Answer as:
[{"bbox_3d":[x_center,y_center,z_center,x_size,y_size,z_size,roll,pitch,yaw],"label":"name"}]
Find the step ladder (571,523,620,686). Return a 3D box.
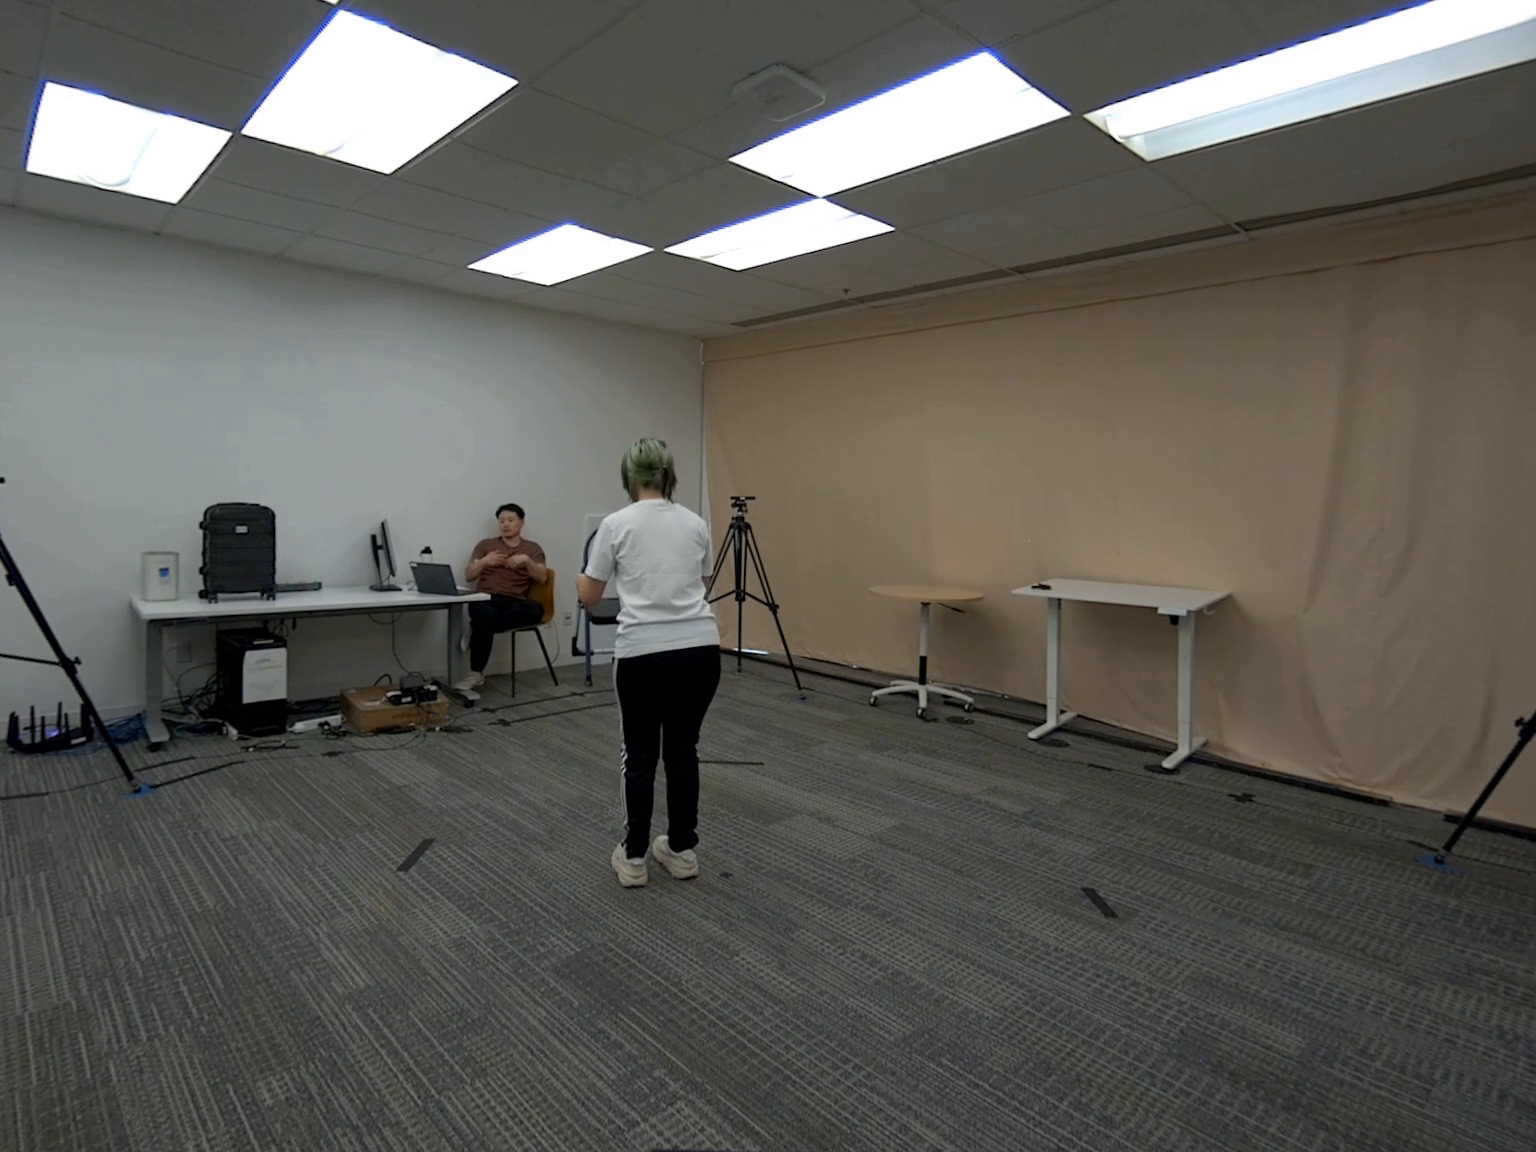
[{"bbox_3d":[-0.564,0.099,3.451,0.423,0.601,0.358,0,14,-24],"label":"step ladder"}]
